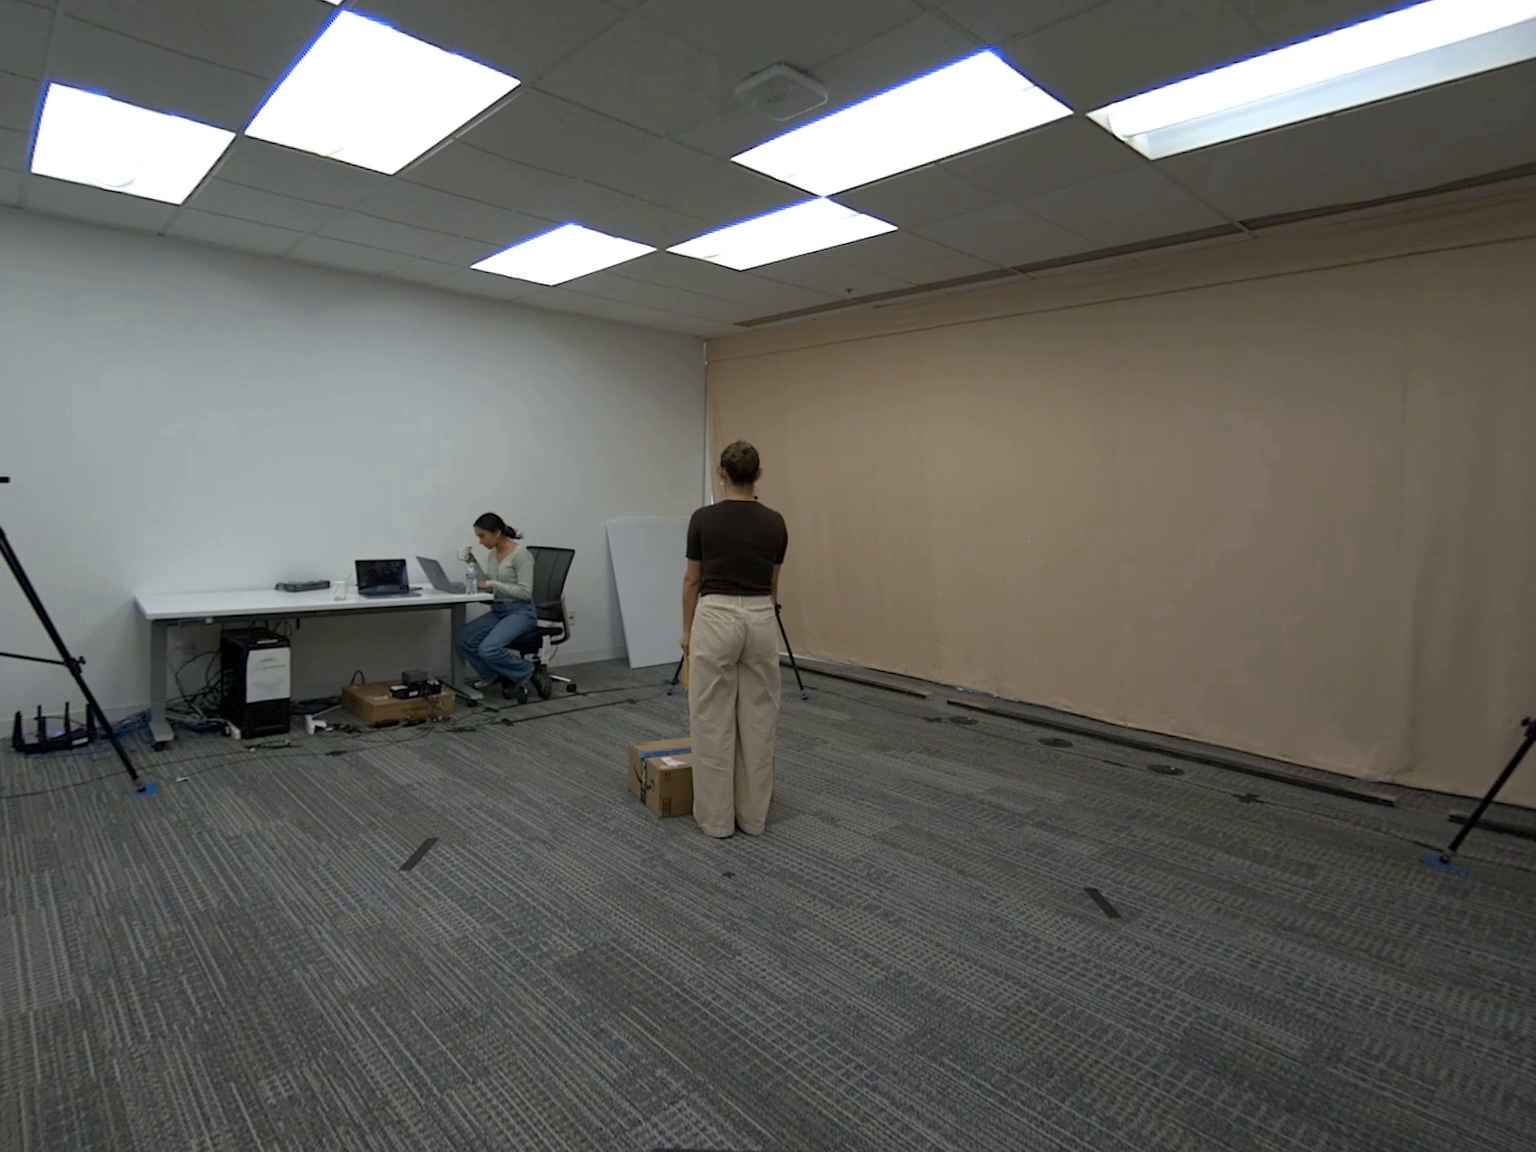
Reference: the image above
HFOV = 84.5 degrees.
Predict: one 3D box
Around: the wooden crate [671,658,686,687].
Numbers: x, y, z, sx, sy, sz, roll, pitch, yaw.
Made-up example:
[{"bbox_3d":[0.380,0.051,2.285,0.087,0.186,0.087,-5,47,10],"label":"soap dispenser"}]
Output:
[{"bbox_3d":[-0.208,0.375,3.709,0.320,0.271,0.309,2,15,-18],"label":"wooden crate"}]
